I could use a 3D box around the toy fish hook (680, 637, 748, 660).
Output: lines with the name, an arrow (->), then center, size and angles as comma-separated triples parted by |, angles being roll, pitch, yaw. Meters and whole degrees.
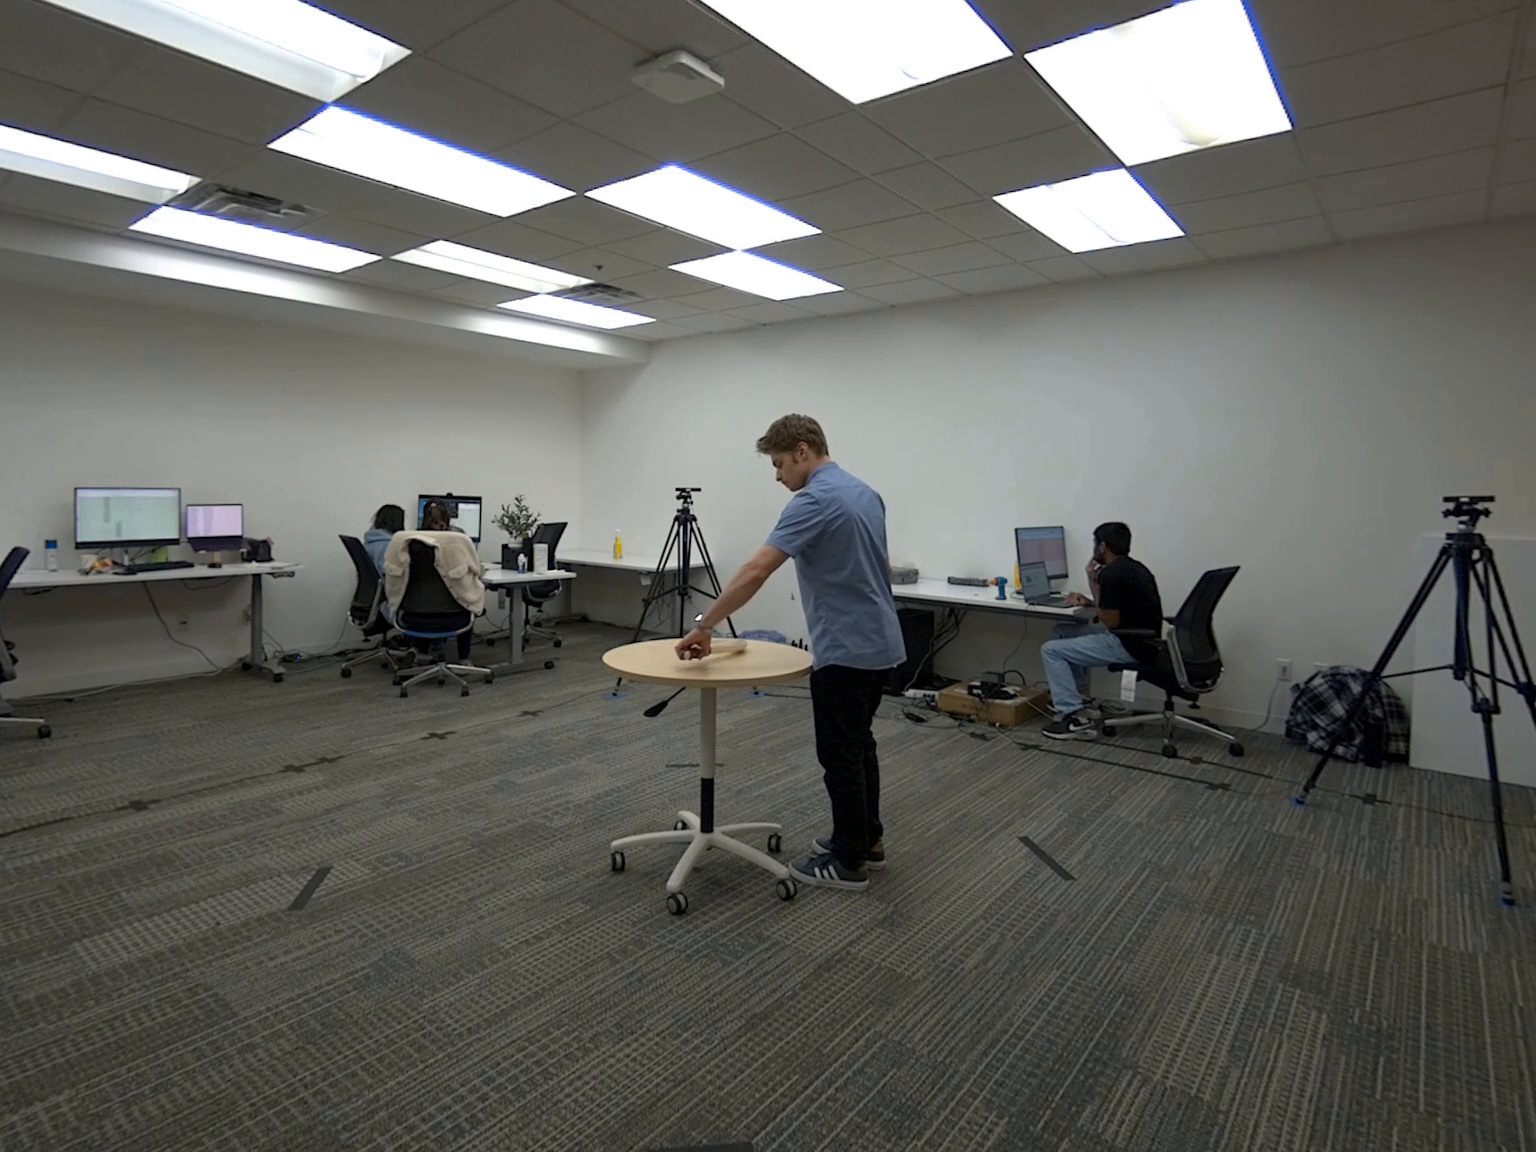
toy fish hook -> -0.245, 0.263, 3.066 | 0.229, 0.048, 0.495 | -4, -1, 21
